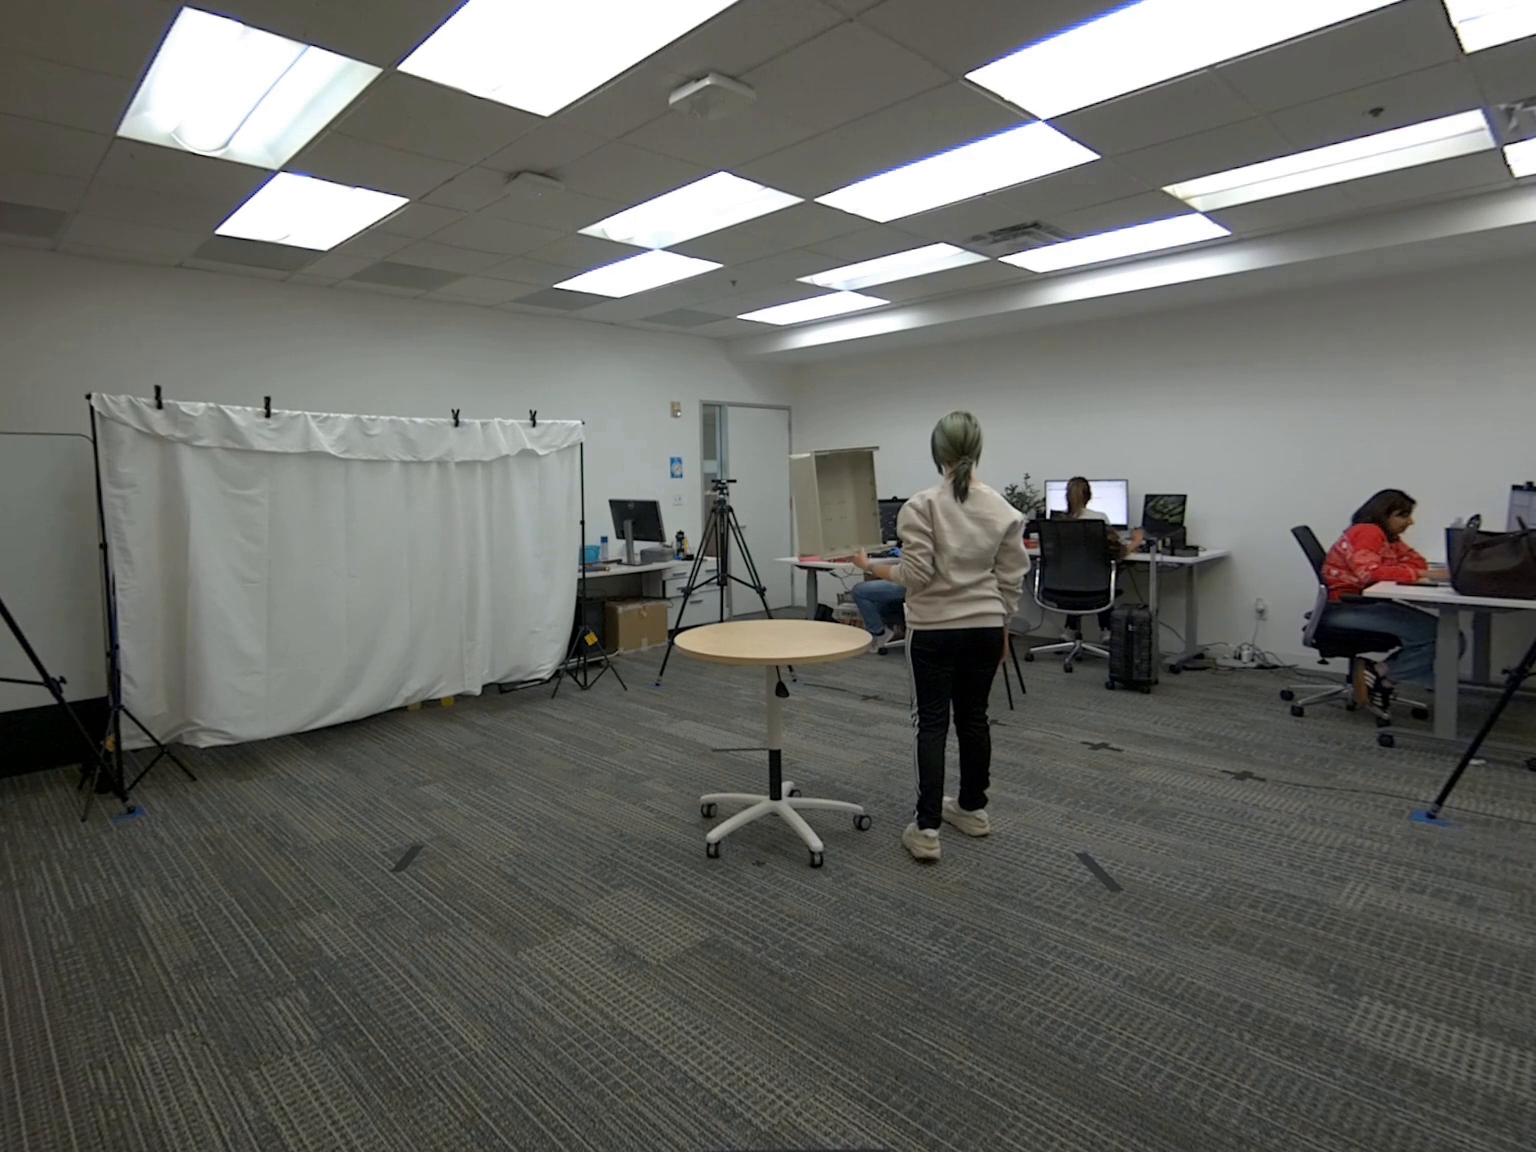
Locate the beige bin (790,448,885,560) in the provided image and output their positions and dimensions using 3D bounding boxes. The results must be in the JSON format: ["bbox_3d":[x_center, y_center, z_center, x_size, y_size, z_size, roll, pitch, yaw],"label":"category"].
[{"bbox_3d":[0.298,-0.300,3.426,0.369,0.421,0.194,-8,4,-29],"label":"beige bin"}]
